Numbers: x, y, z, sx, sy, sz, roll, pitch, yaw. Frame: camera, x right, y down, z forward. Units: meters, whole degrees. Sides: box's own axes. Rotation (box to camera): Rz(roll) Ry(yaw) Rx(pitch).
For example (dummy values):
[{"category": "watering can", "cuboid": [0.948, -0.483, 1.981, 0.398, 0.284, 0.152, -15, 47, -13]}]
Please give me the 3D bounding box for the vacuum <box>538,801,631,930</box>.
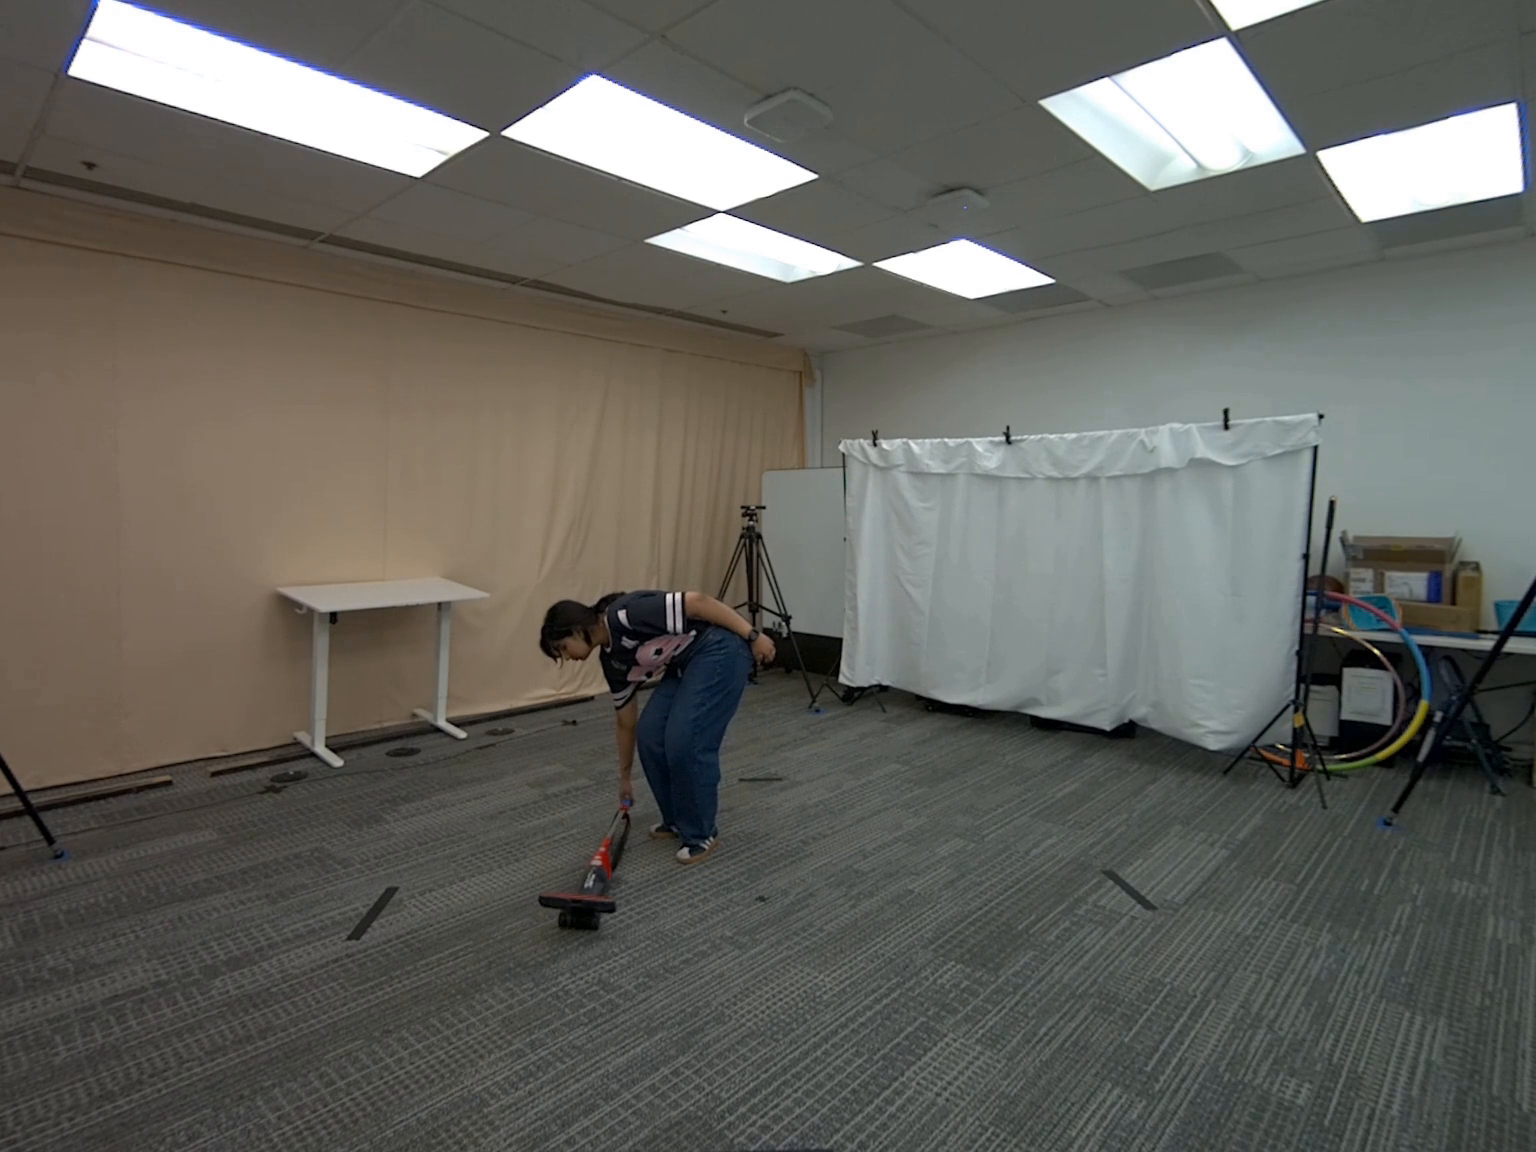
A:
[{"category": "vacuum", "cuboid": [-0.608, 1.050, 3.272, 0.253, 0.143, 1.049, 2, 4, 0]}]
